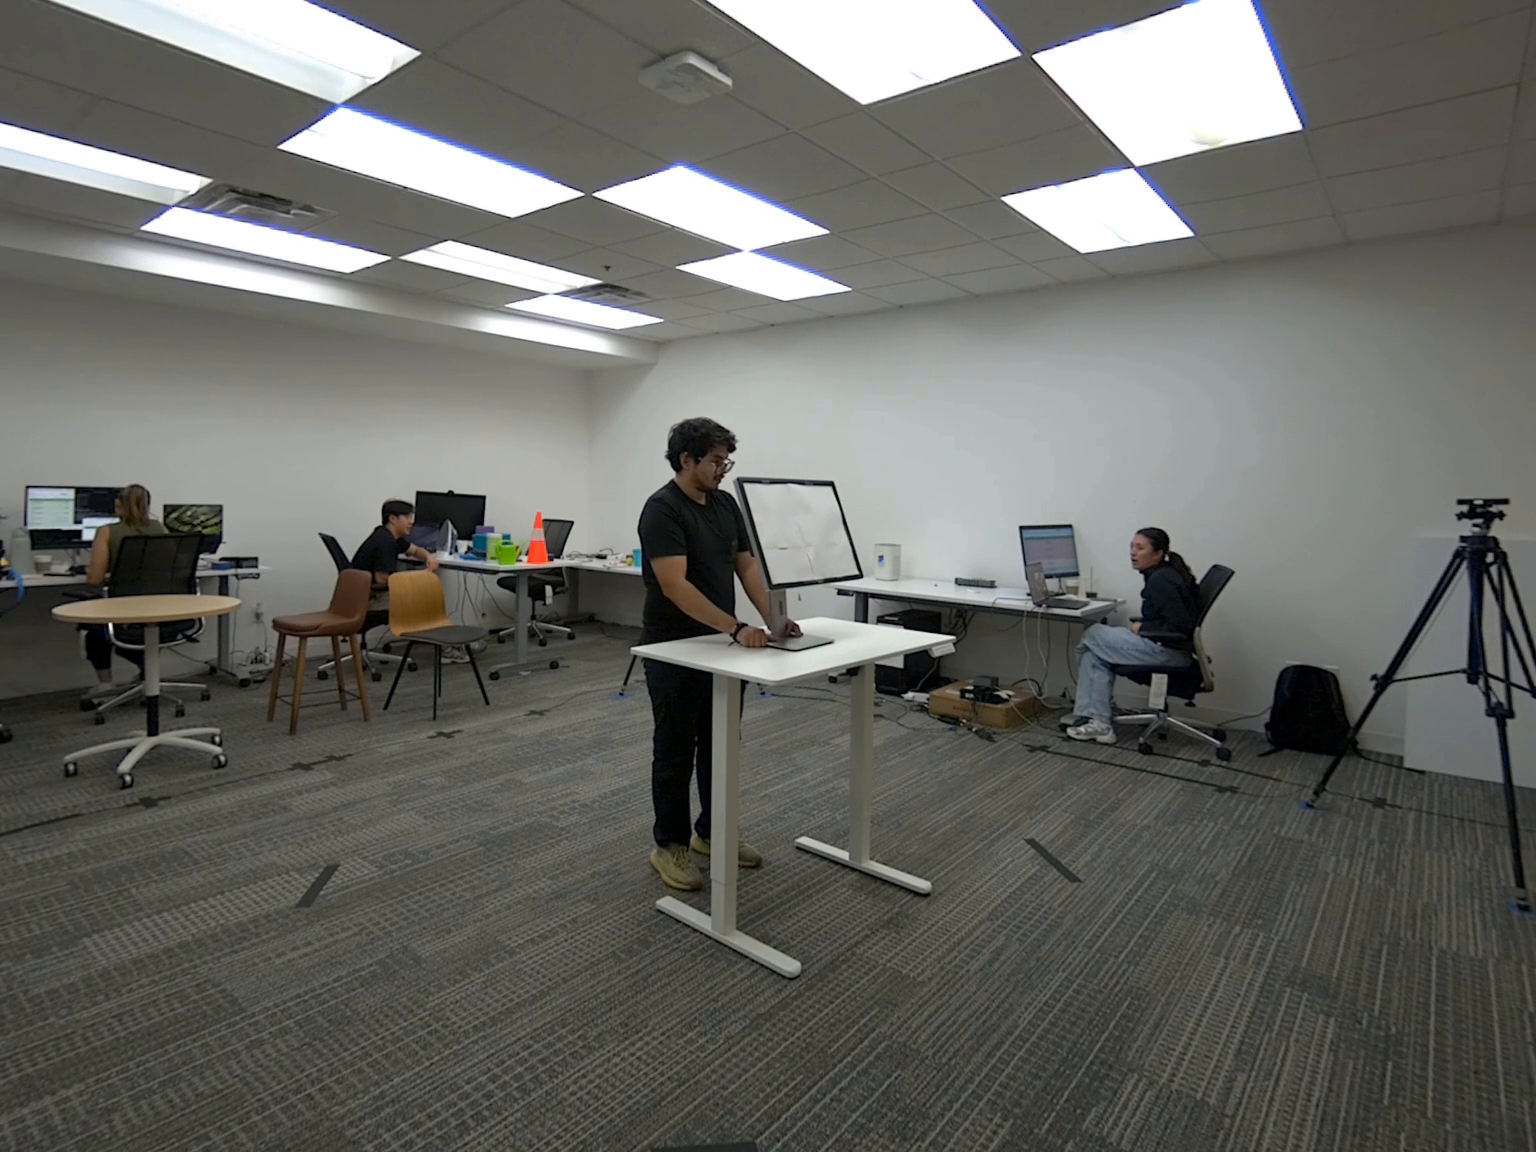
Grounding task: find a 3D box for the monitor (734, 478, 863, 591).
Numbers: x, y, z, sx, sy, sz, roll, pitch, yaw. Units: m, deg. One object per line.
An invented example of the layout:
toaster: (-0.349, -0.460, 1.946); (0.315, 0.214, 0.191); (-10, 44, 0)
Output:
monitor: (0.057, -0.048, 2.826); (0.215, 0.557, 0.549); (-12, -5, 36)
